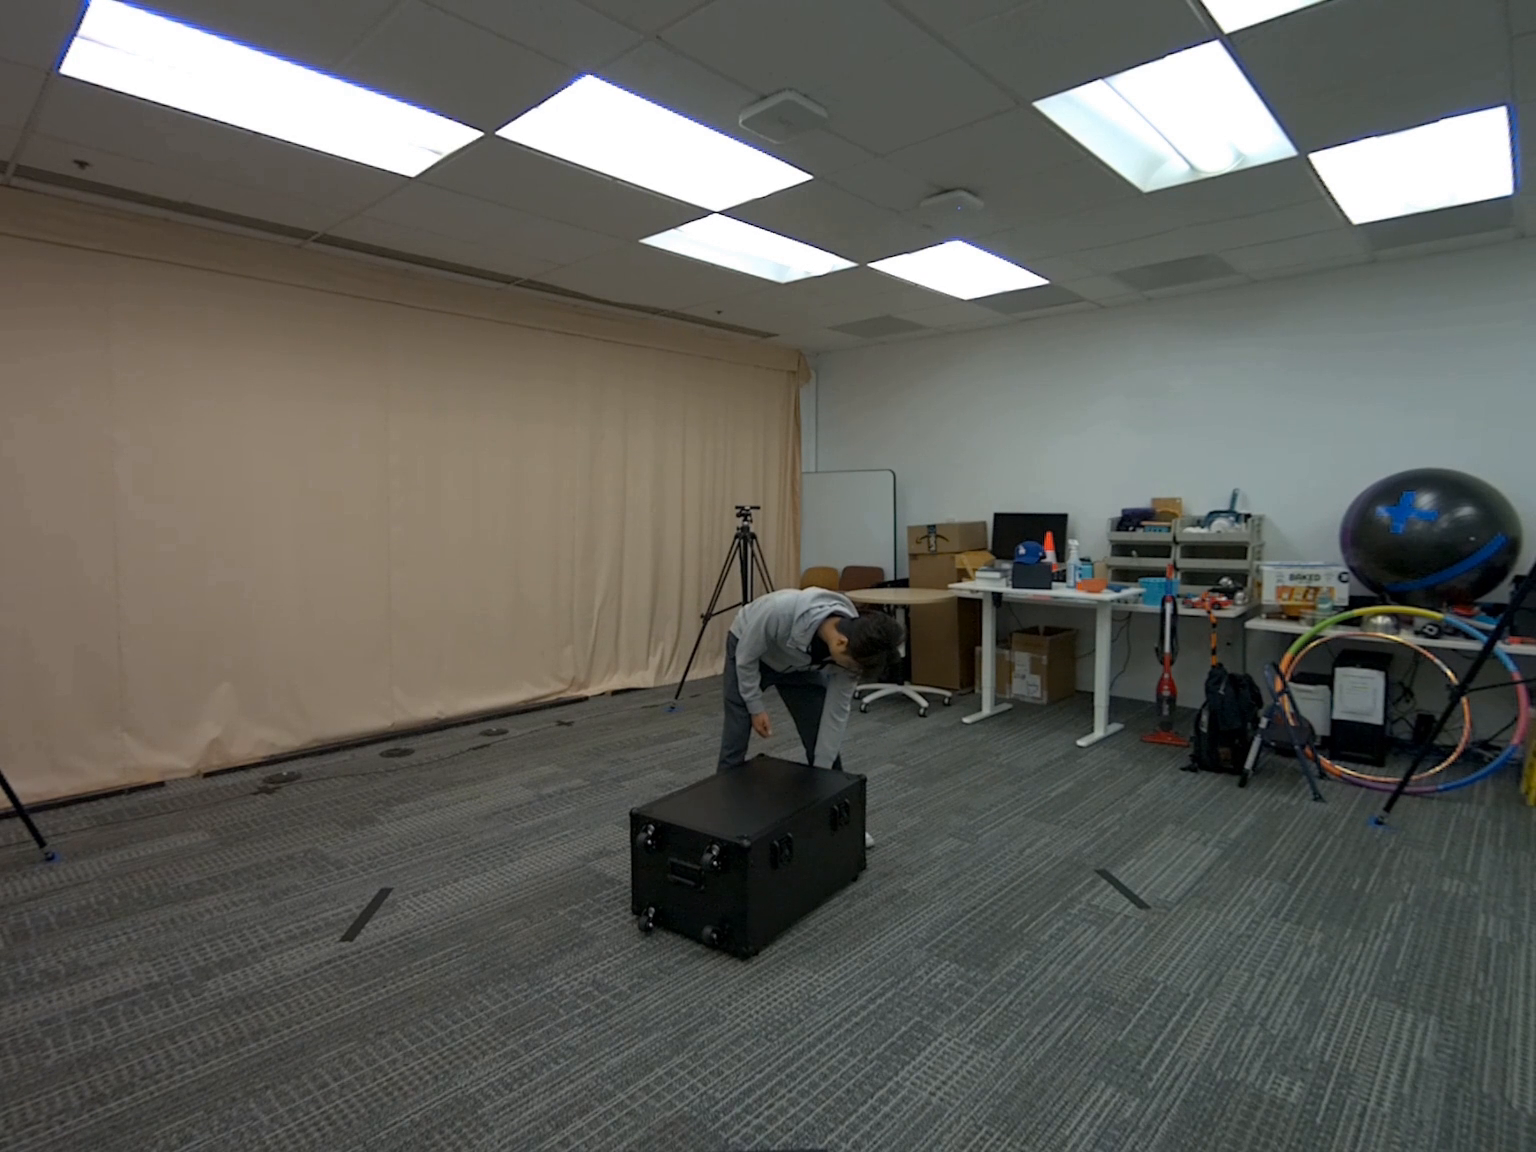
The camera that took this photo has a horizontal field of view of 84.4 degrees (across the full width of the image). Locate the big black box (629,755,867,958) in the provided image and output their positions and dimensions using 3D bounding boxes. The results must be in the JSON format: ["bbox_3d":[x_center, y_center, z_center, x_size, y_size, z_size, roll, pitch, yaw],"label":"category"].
[{"bbox_3d":[-0.066,0.957,2.968,0.538,0.395,0.836,3,5,35],"label":"big black box"}]
